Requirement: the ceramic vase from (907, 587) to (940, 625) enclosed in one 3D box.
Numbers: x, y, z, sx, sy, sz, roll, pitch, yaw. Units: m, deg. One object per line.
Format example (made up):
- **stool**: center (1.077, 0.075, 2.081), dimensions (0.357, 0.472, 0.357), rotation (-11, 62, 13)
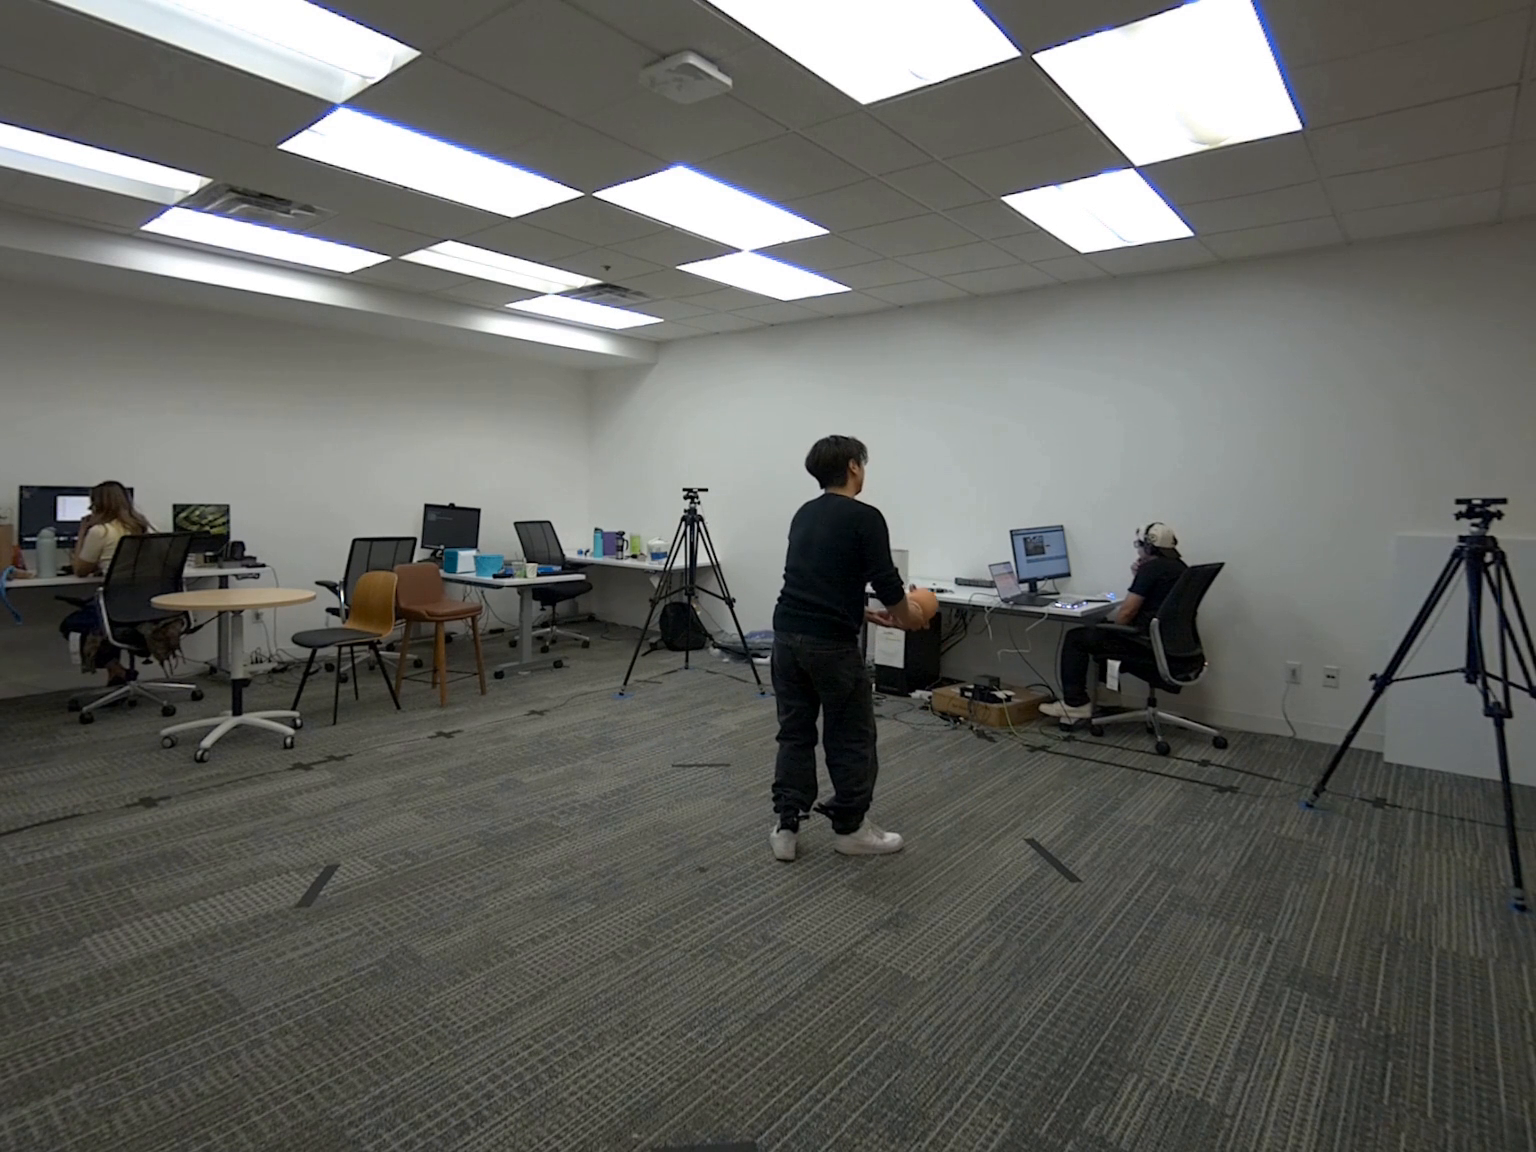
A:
- **ceramic vase**: center (0.587, 0.138, 3.494), dimensions (0.164, 0.133, 0.216), rotation (36, 32, 21)
